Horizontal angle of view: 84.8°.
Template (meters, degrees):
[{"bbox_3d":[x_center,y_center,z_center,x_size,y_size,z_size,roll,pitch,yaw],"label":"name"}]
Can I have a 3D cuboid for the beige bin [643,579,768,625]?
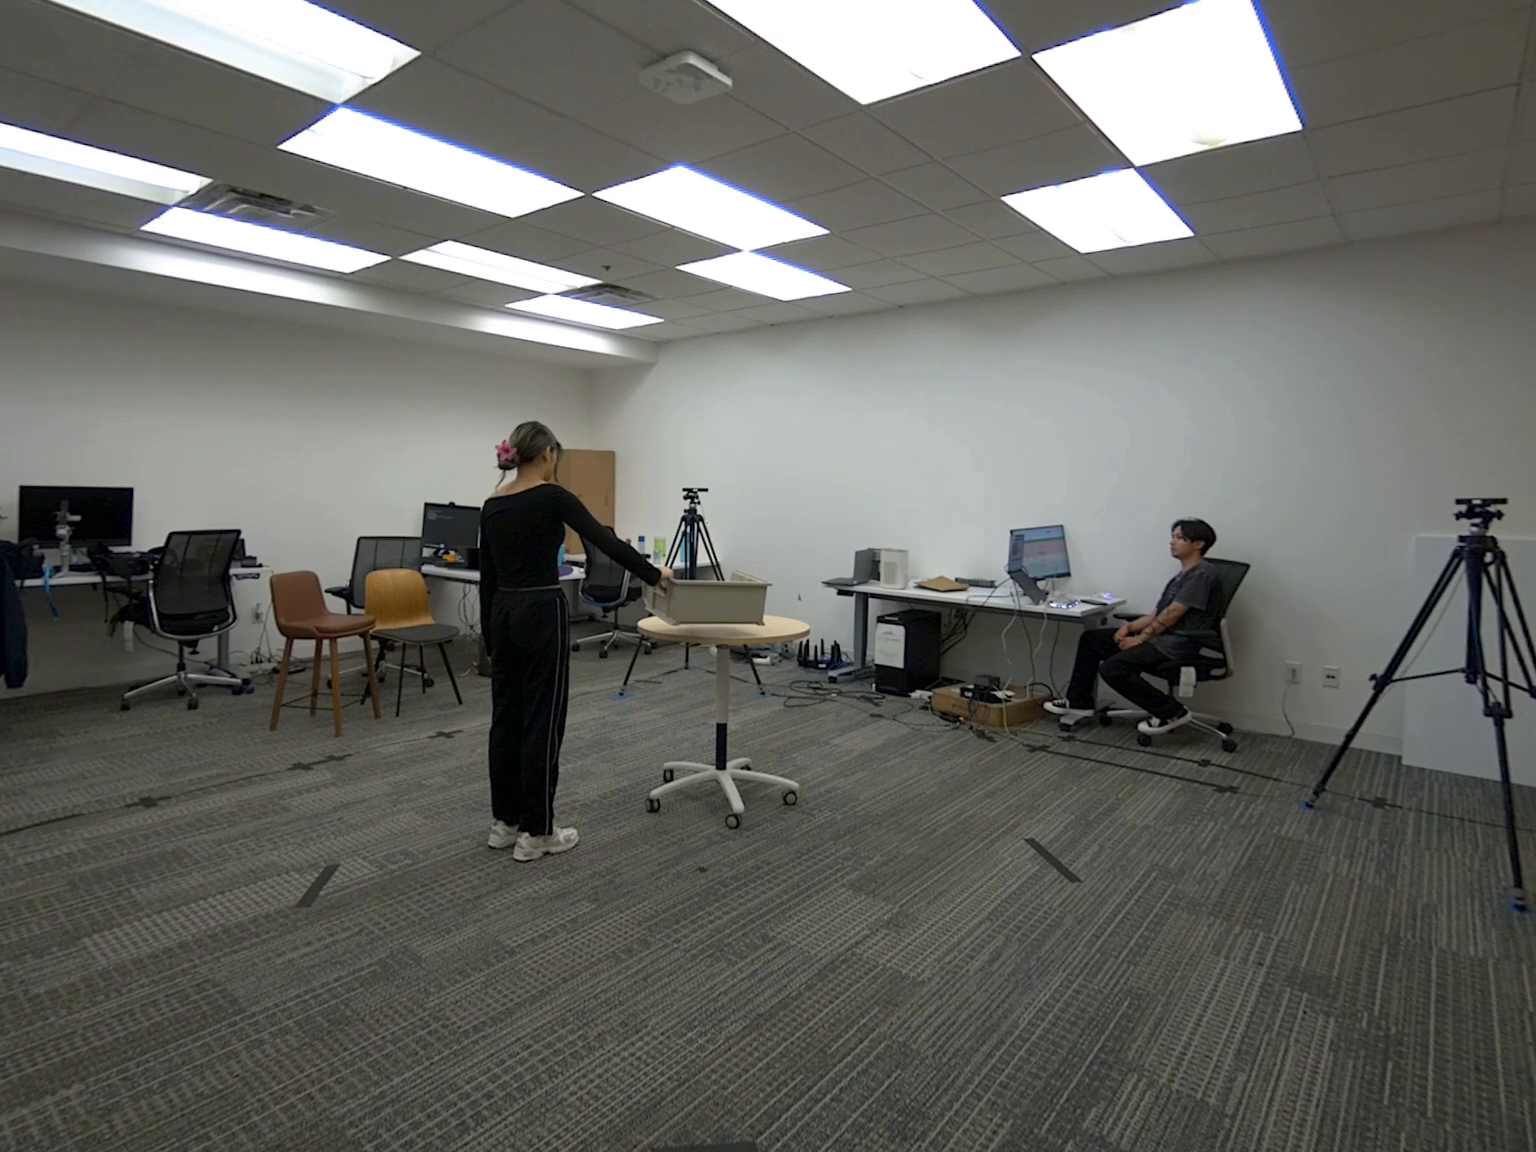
[{"bbox_3d":[-0.265,0.077,3.533,0.413,0.188,0.388,3,8,-23],"label":"beige bin"}]
